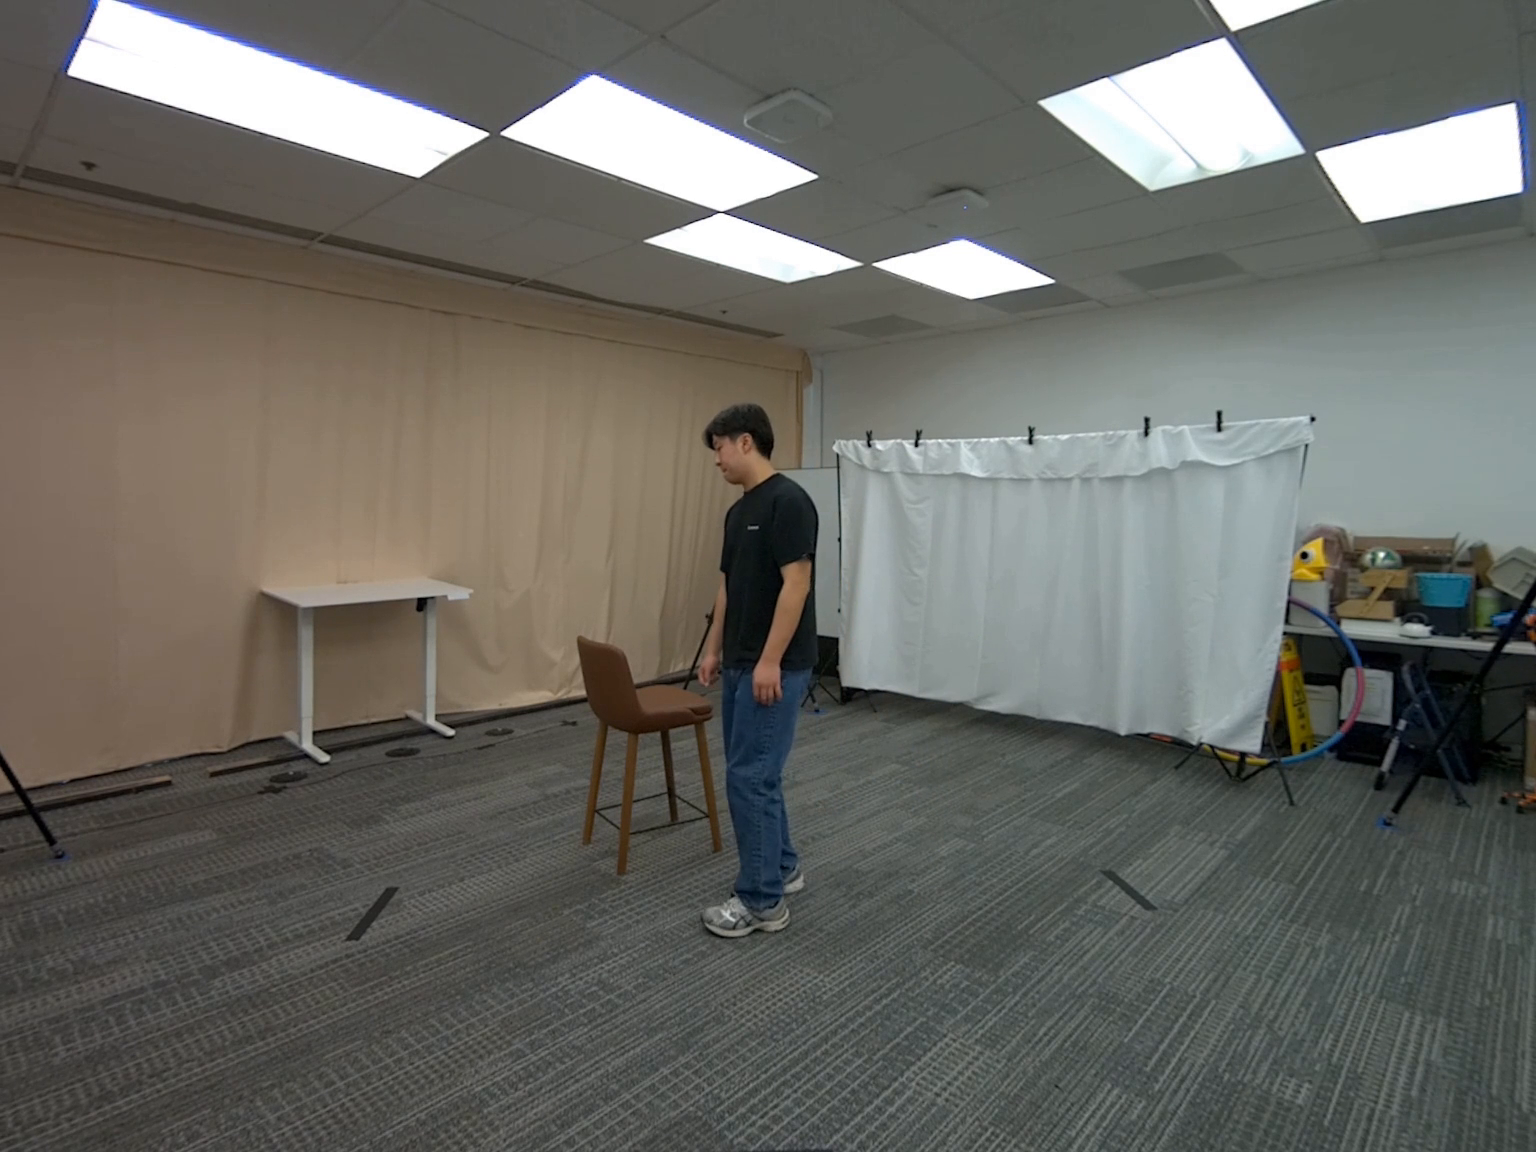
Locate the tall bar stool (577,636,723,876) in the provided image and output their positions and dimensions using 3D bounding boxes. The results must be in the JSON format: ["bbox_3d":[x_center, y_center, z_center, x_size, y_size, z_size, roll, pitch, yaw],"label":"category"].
[{"bbox_3d":[-0.492,0.675,3.435,0.455,0.887,0.470,-5,5,-32],"label":"tall bar stool"}]
